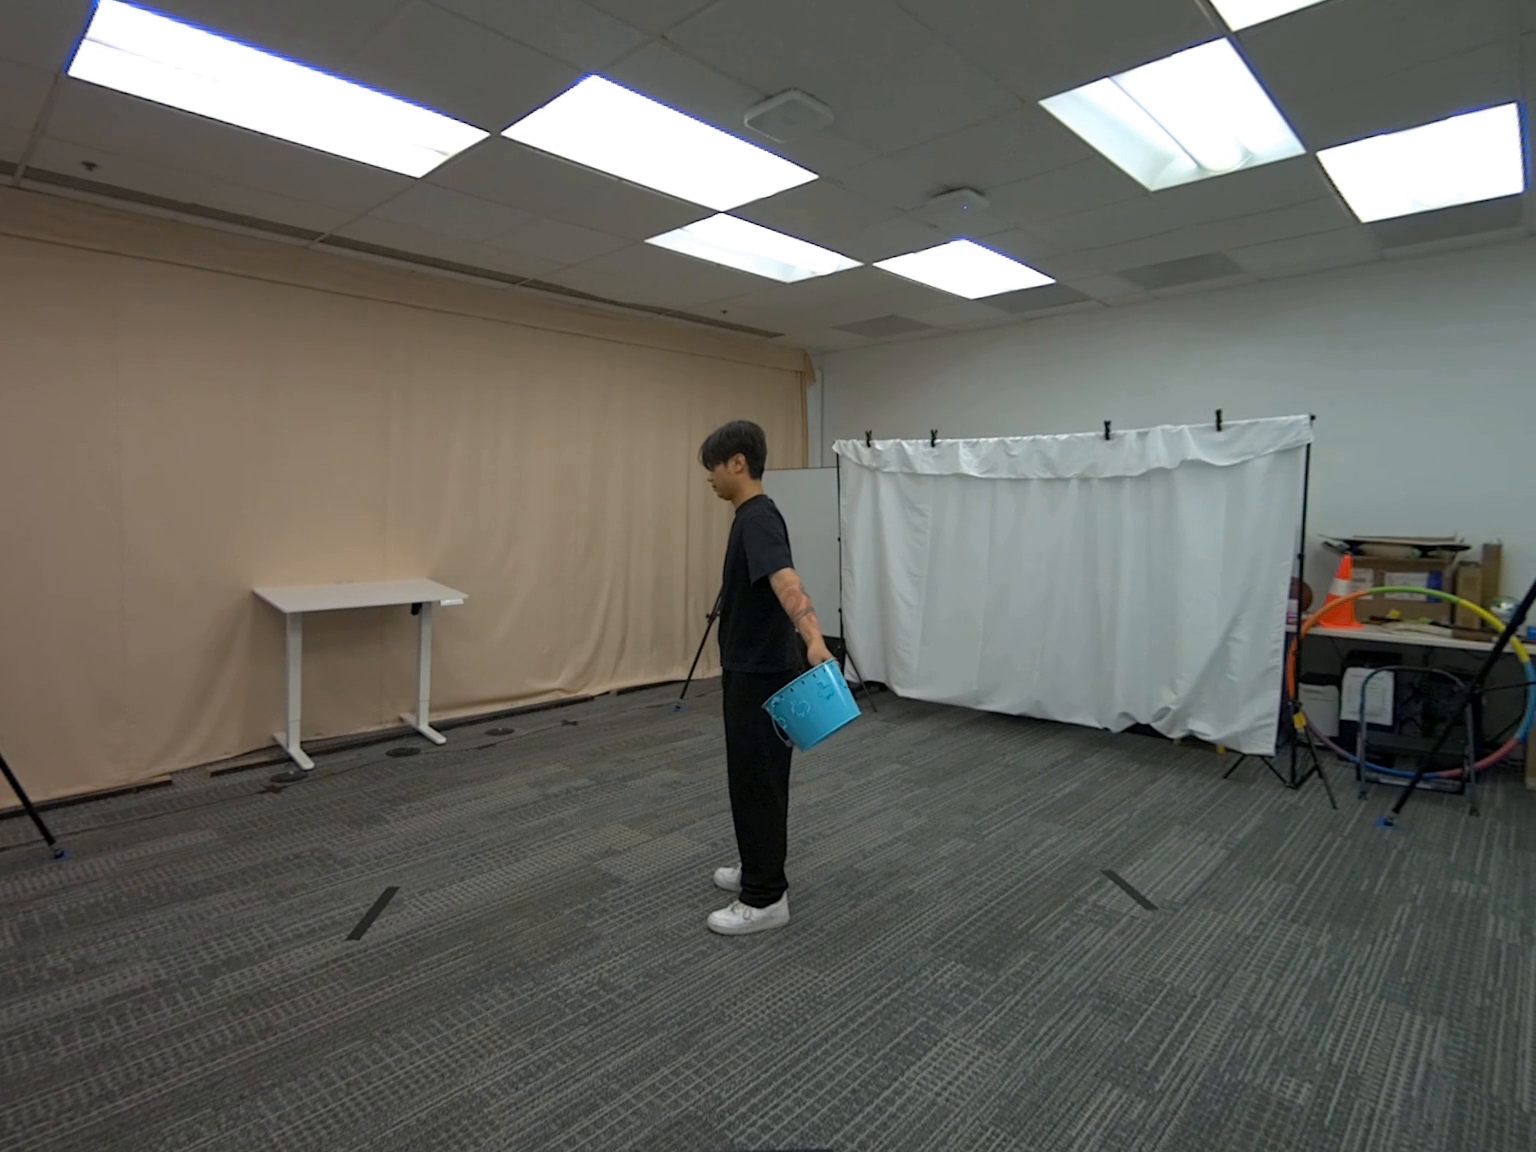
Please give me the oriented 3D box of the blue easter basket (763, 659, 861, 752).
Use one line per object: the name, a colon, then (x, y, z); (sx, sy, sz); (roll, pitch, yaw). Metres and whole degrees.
blue easter basket: (0.100, 0.351, 2.184); (0.242, 0.158, 0.241); (-30, -14, -11)
